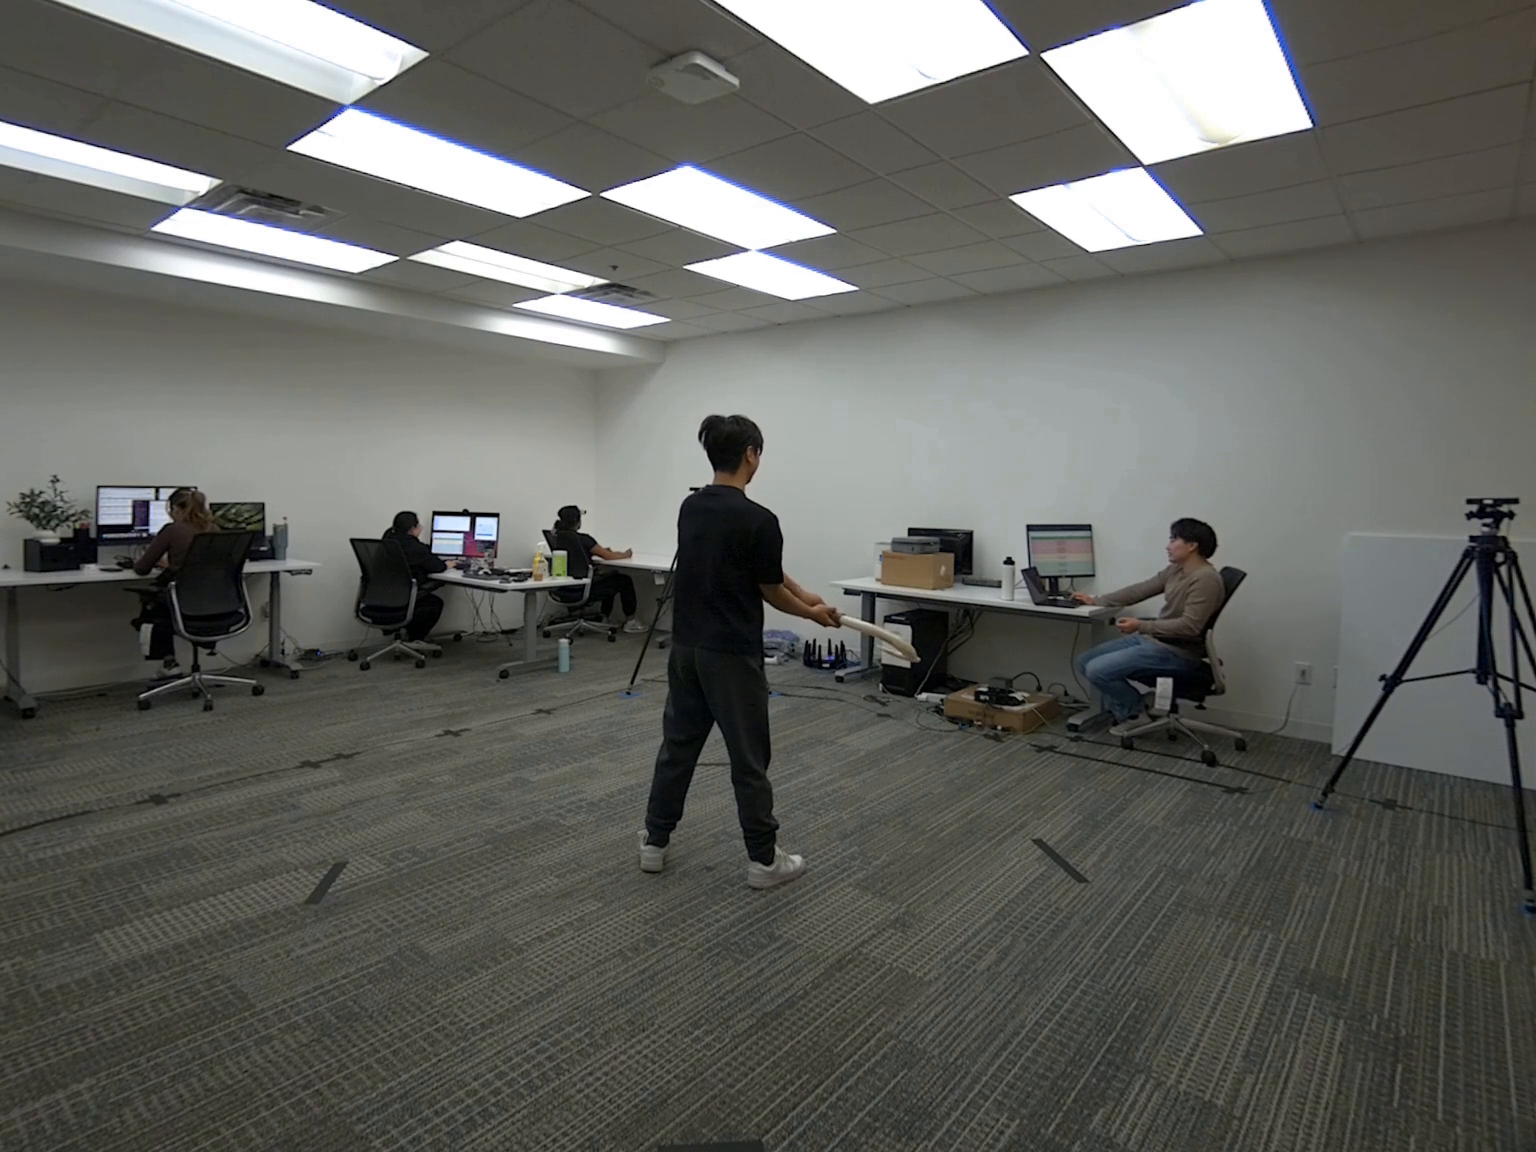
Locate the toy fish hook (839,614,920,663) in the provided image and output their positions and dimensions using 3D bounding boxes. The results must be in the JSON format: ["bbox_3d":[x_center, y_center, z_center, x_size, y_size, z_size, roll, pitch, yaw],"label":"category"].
[{"bbox_3d":[0.315,0.200,3.201,0.527,0.048,0.215,23,-23,40],"label":"toy fish hook"}]
